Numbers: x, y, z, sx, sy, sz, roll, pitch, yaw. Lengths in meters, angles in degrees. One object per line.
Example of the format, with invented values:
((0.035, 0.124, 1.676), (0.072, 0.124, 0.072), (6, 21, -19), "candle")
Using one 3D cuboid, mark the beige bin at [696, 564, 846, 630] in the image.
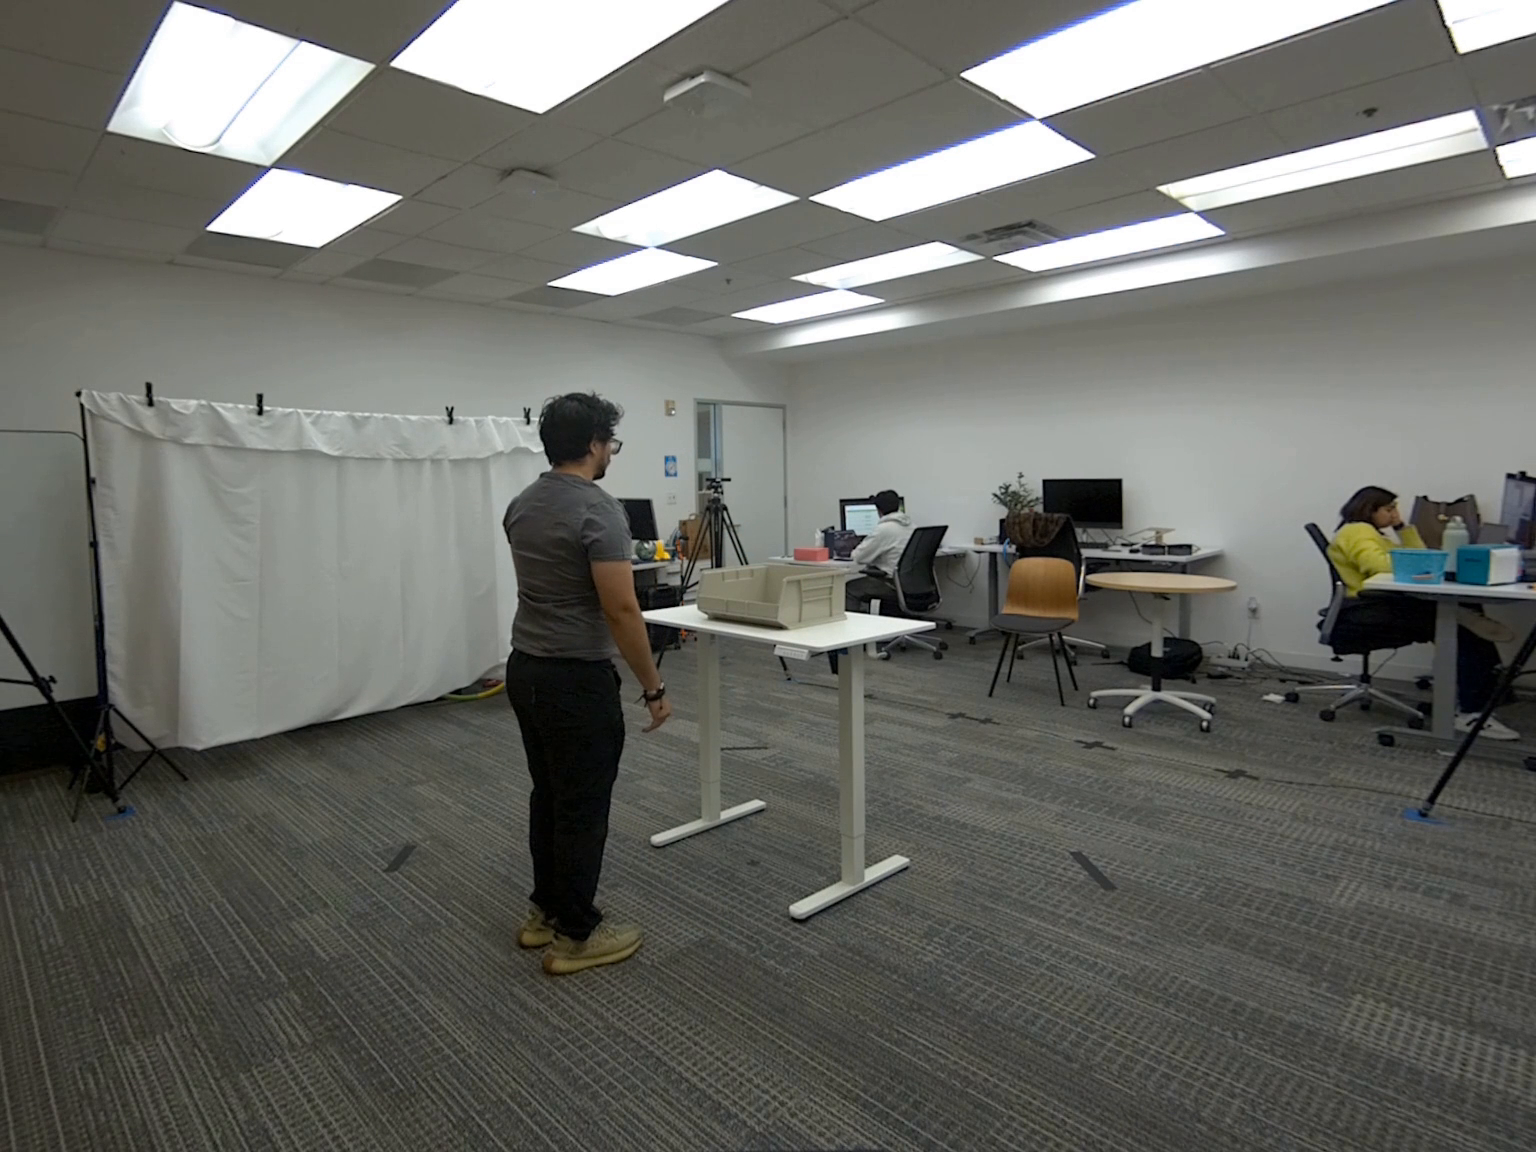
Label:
((0.016, 0.070, 3.092), (0.367, 0.188, 0.435), (-5, 6, -44), "beige bin")
